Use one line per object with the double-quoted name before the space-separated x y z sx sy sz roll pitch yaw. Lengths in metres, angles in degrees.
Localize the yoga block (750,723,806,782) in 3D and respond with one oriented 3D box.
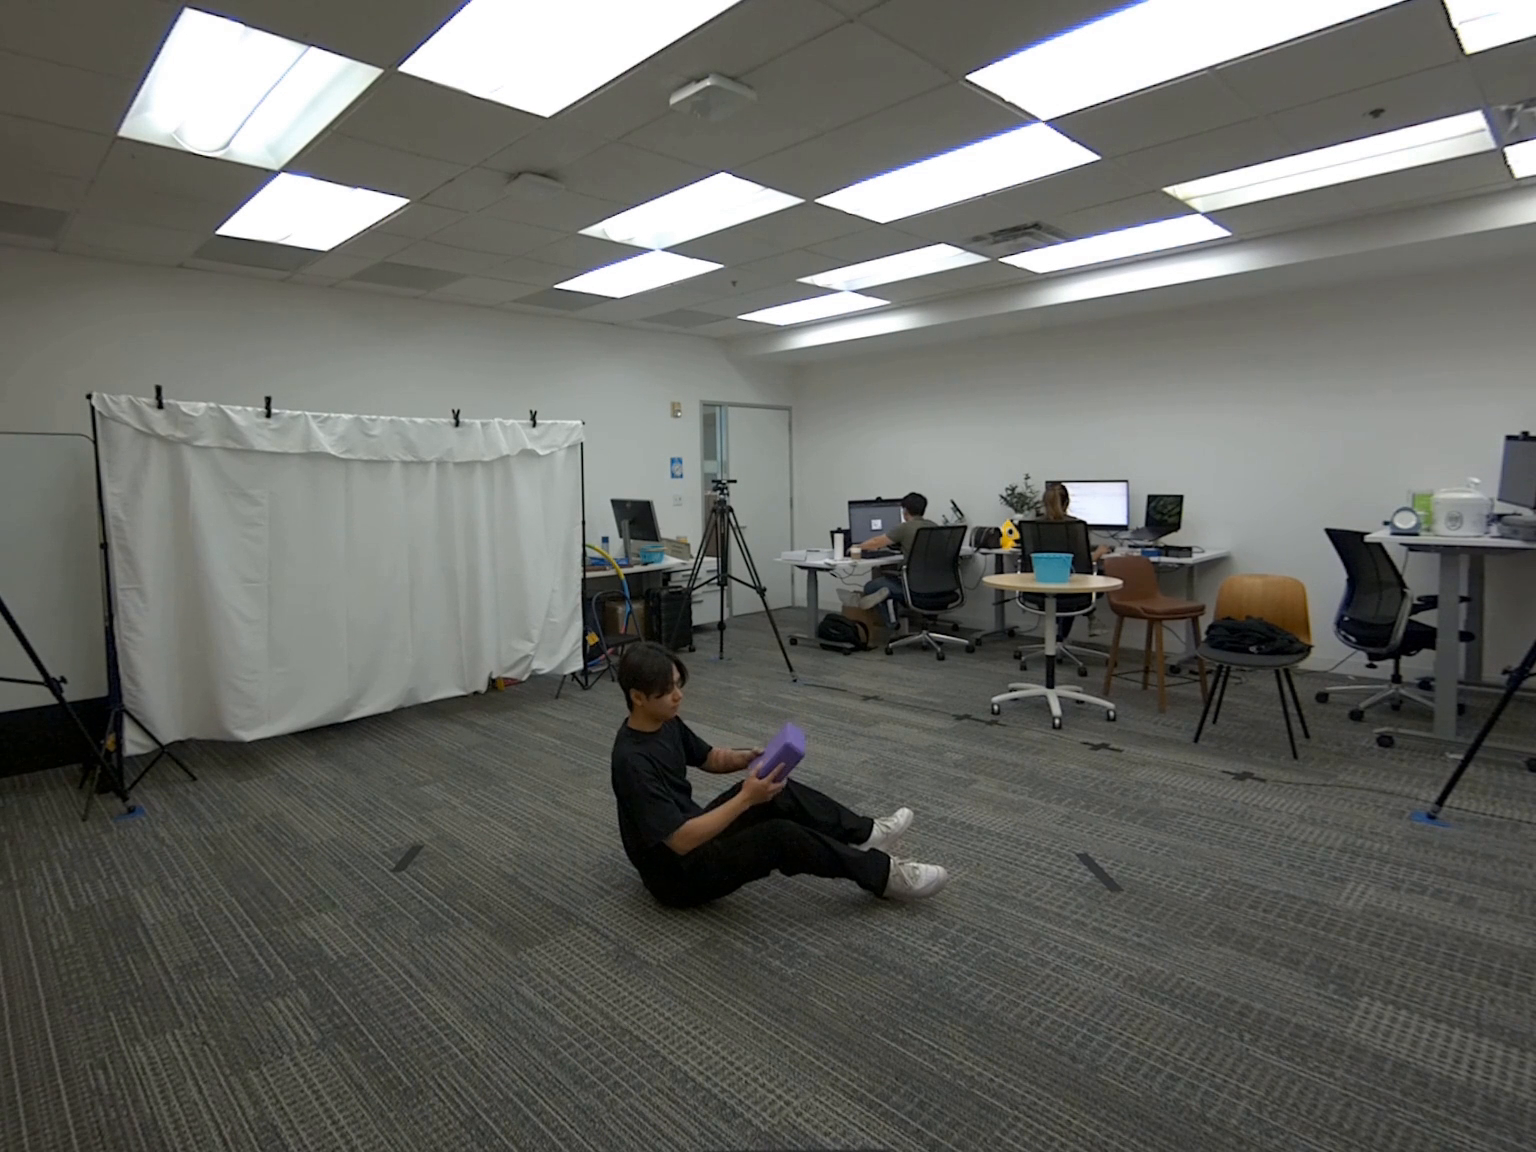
"yoga block" 0.016 0.607 2.776 0.076 0.229 0.150 37 11 -9
